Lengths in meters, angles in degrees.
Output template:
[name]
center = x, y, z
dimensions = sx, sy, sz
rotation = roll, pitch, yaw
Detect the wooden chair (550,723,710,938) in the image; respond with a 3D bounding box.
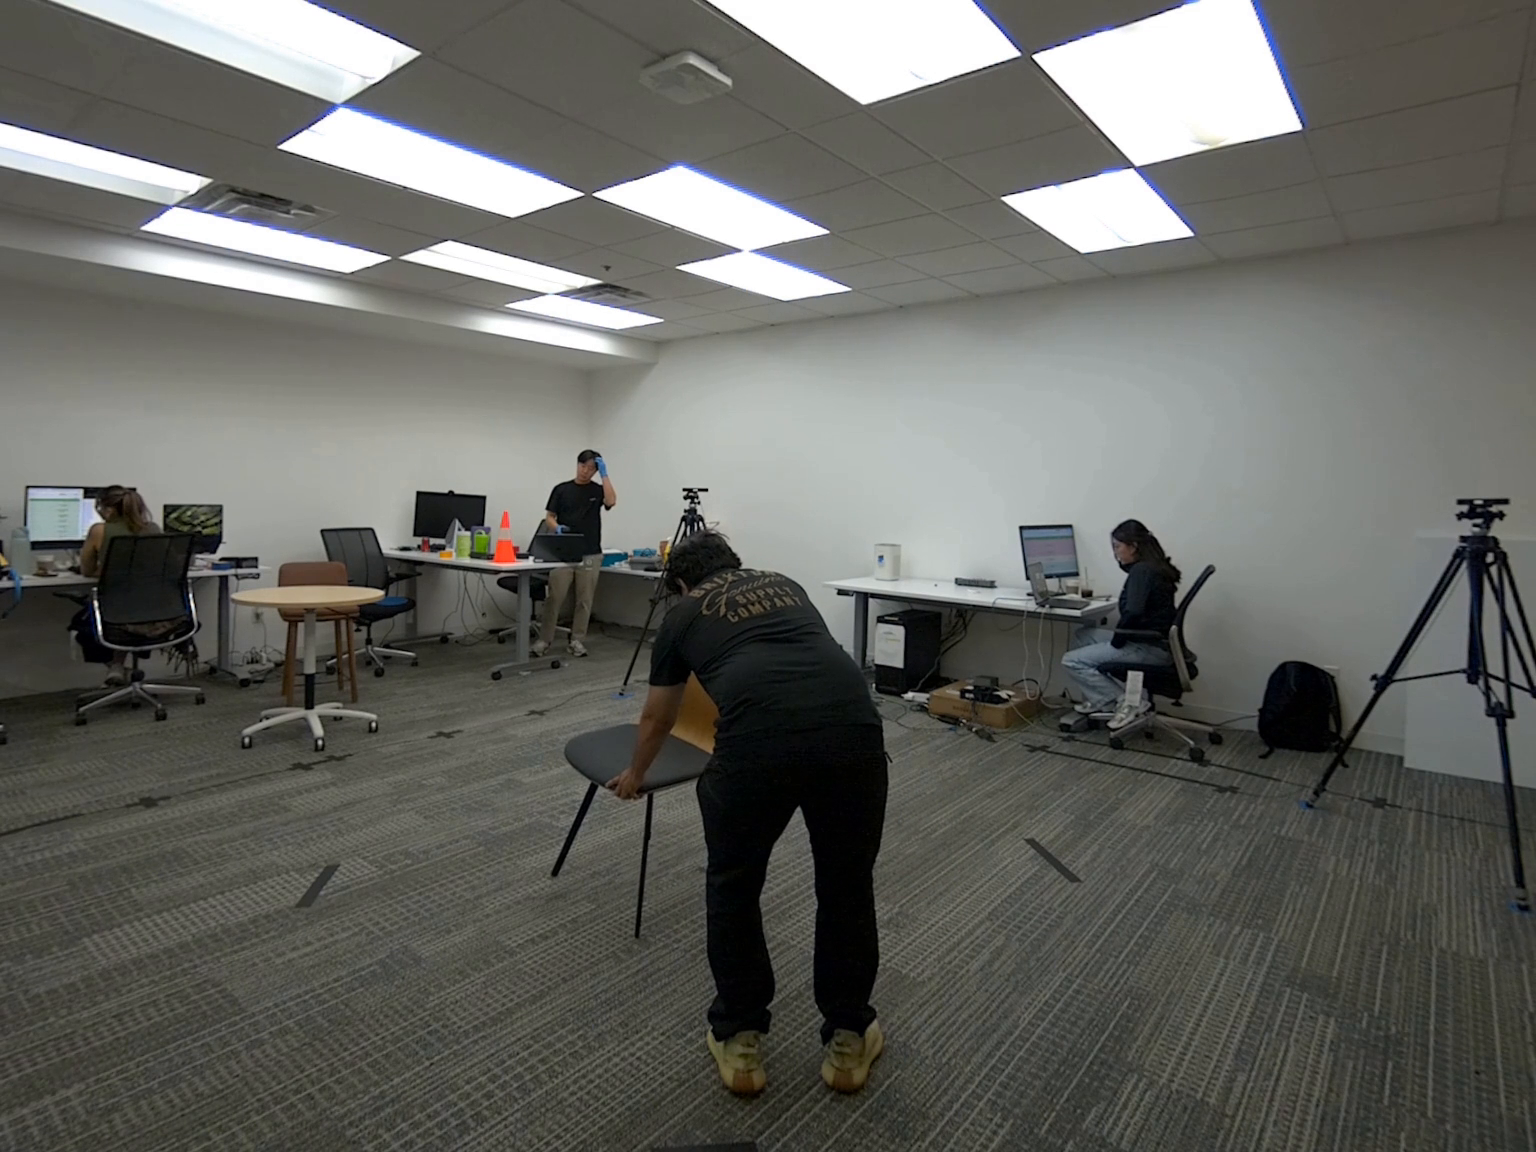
[wooden chair]
center = -0.401, 0.640, 2.865
dimensions = 0.496, 0.874, 0.506
rotation = 12, 6, 41
